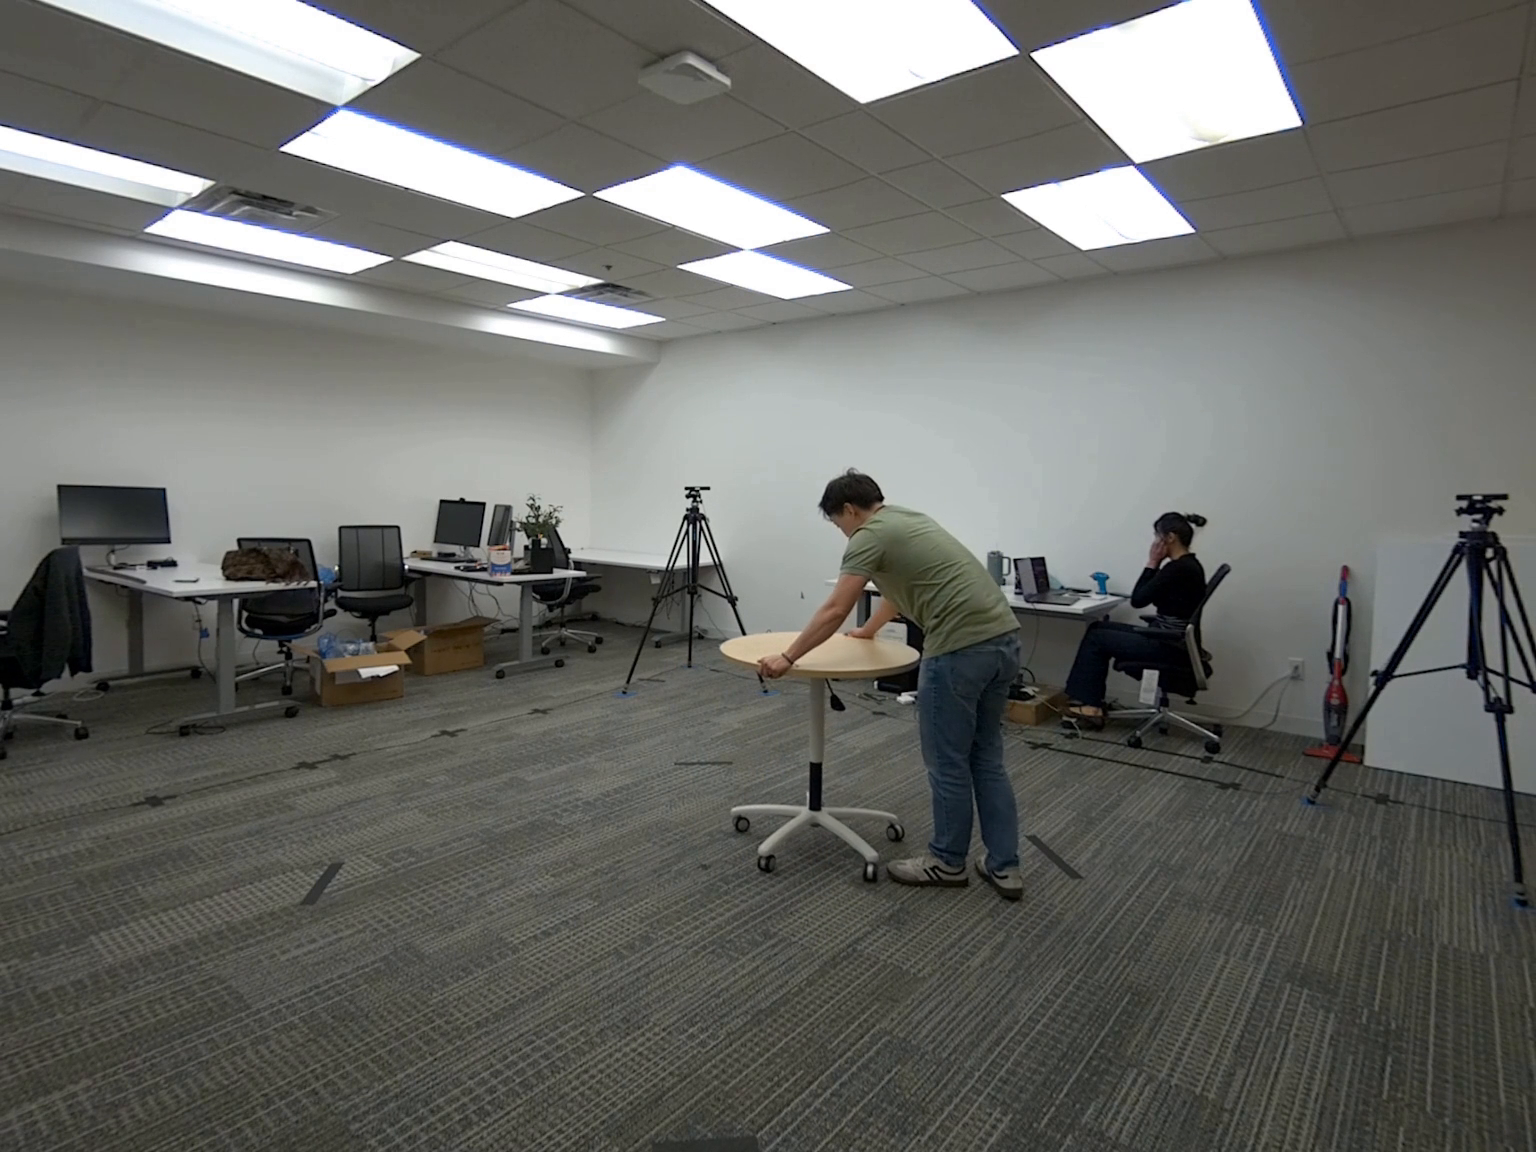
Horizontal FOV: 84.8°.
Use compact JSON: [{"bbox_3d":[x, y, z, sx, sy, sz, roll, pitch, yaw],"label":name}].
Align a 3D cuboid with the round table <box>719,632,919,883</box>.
[{"bbox_3d":[0.183,0.667,3.321,0.763,0.791,0.768,1,4,-2],"label":"round table"}]
